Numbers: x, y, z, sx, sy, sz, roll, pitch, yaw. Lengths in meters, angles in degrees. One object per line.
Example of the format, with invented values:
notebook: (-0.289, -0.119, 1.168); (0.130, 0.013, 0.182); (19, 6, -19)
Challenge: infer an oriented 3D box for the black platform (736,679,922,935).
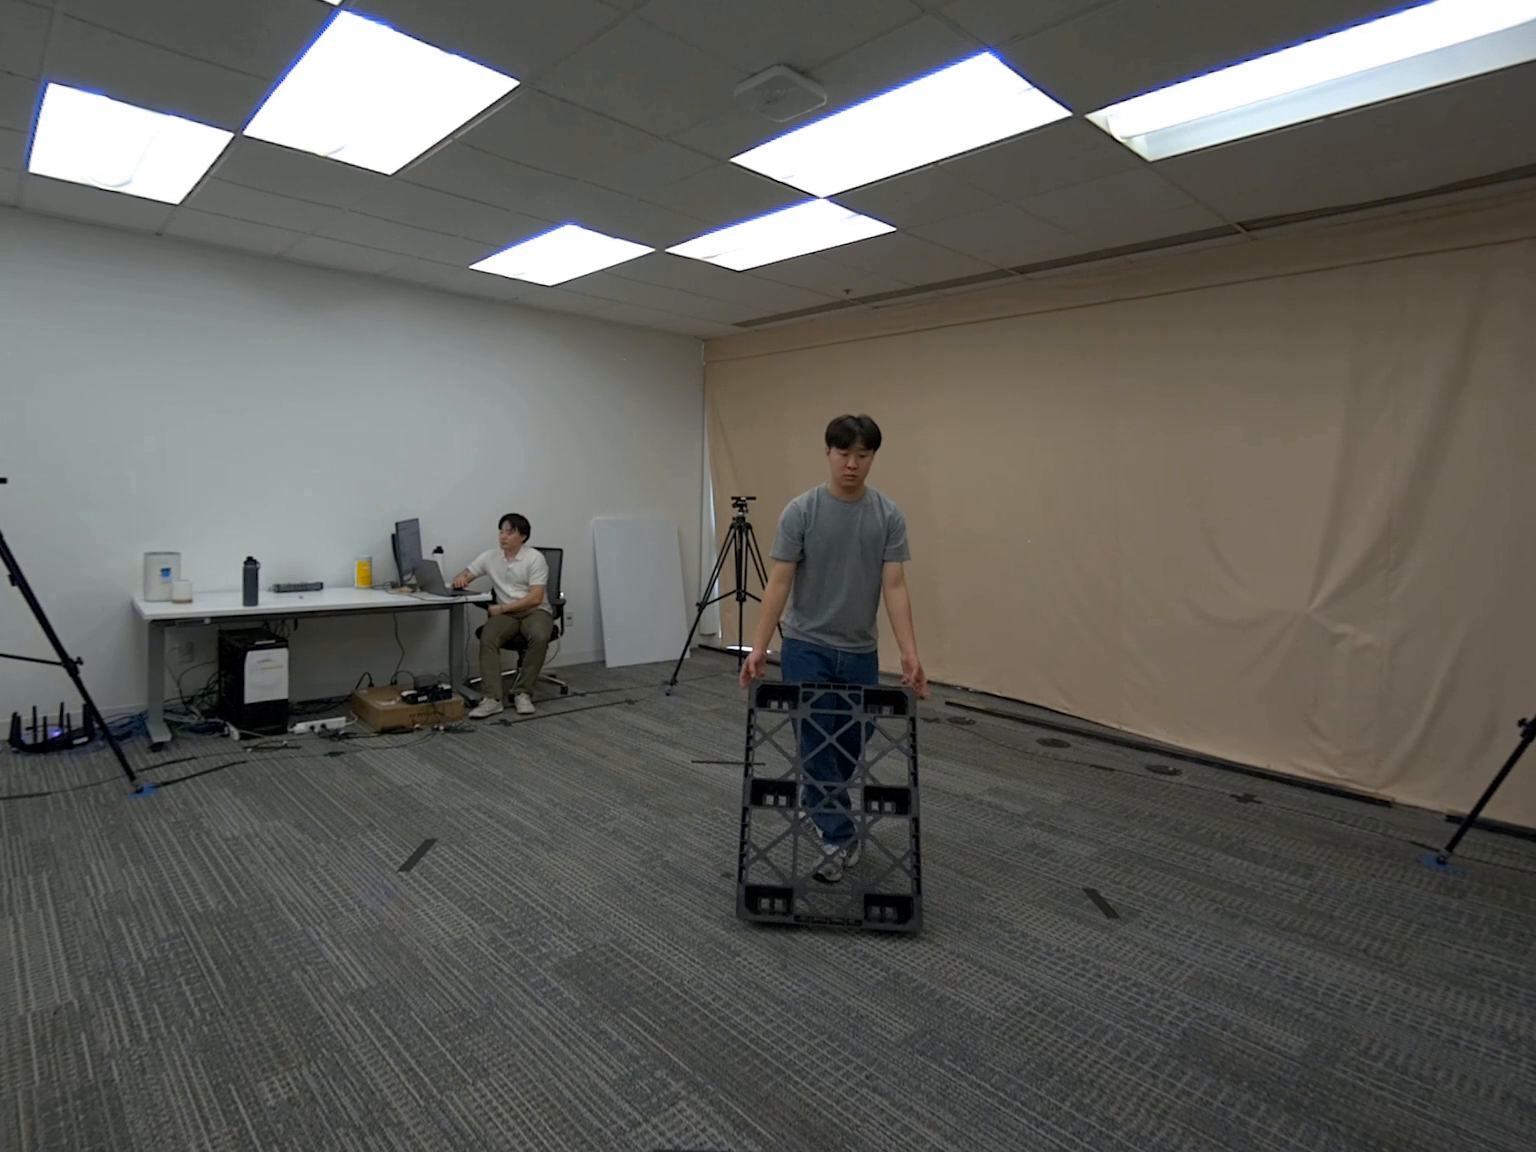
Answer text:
black platform: (0.207, 0.781, 2.913); (0.607, 0.818, 0.140); (2, -25, 5)
